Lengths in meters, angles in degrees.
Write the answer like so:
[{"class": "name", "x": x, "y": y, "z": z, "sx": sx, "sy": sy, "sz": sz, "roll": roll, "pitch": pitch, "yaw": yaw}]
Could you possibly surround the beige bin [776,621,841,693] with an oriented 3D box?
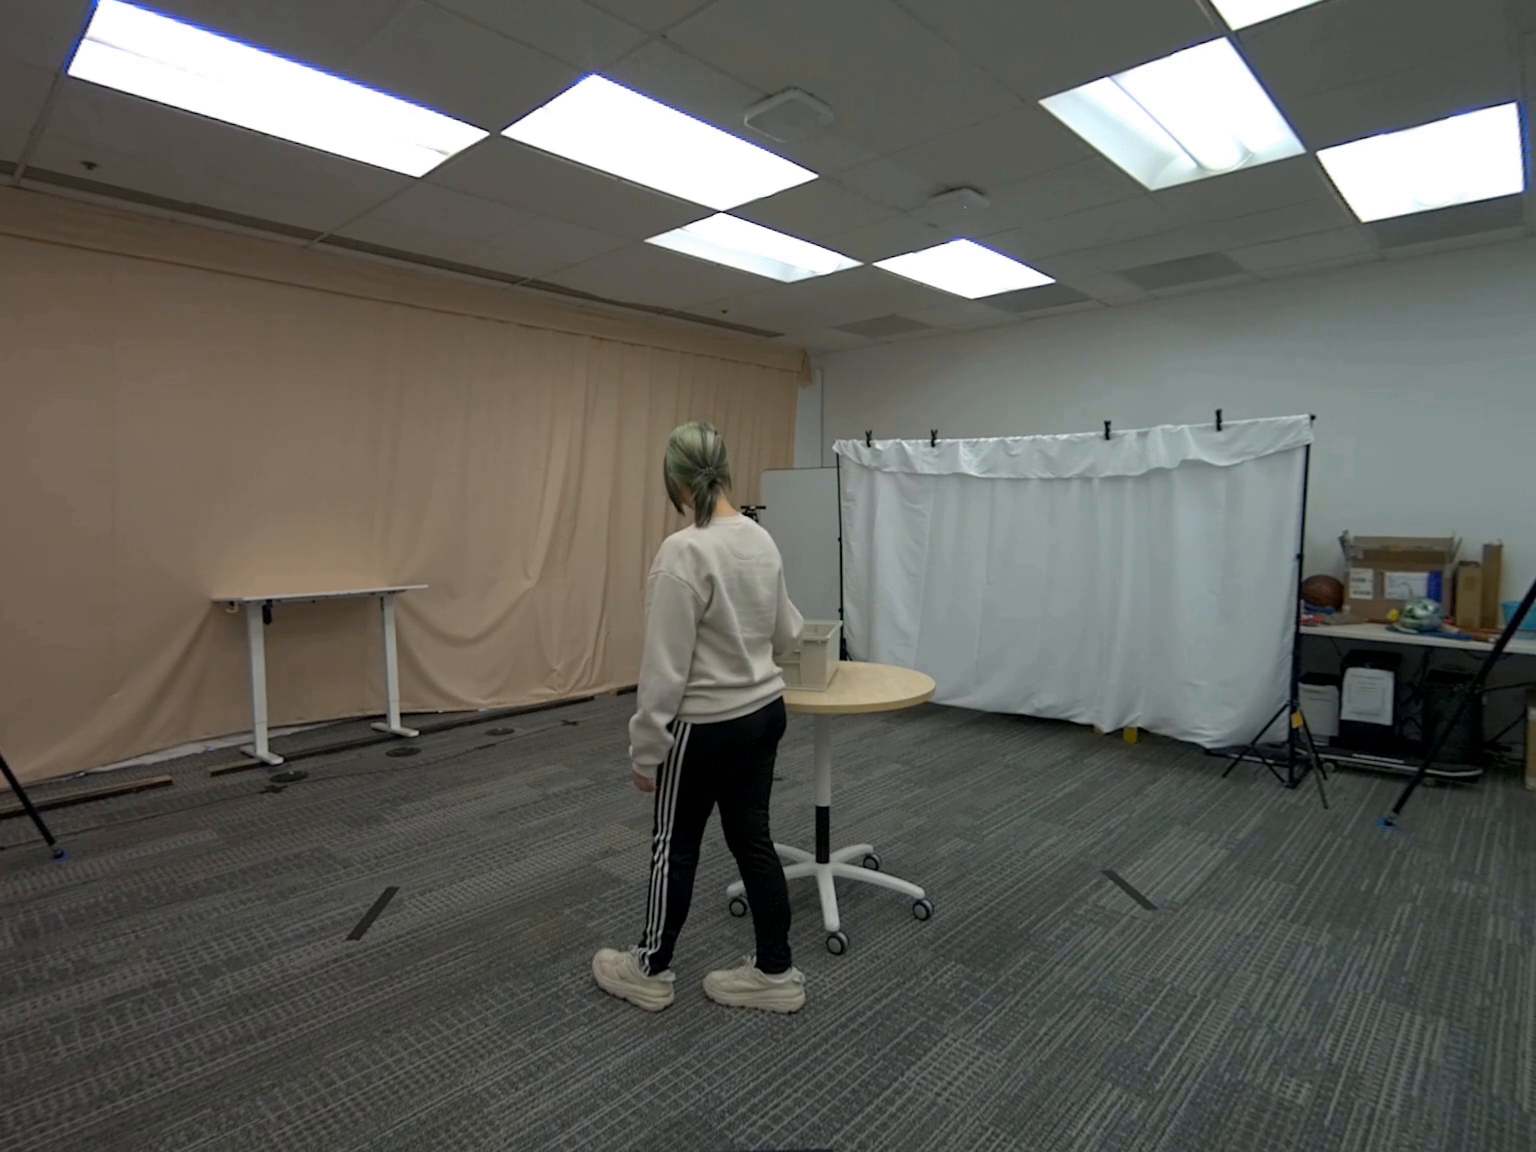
[{"class": "beige bin", "x": 0.062, "y": 0.268, "z": 2.973, "sx": 0.383, "sy": 0.188, "sz": 0.417, "roll": 2, "pitch": 5, "yaw": 13}]
